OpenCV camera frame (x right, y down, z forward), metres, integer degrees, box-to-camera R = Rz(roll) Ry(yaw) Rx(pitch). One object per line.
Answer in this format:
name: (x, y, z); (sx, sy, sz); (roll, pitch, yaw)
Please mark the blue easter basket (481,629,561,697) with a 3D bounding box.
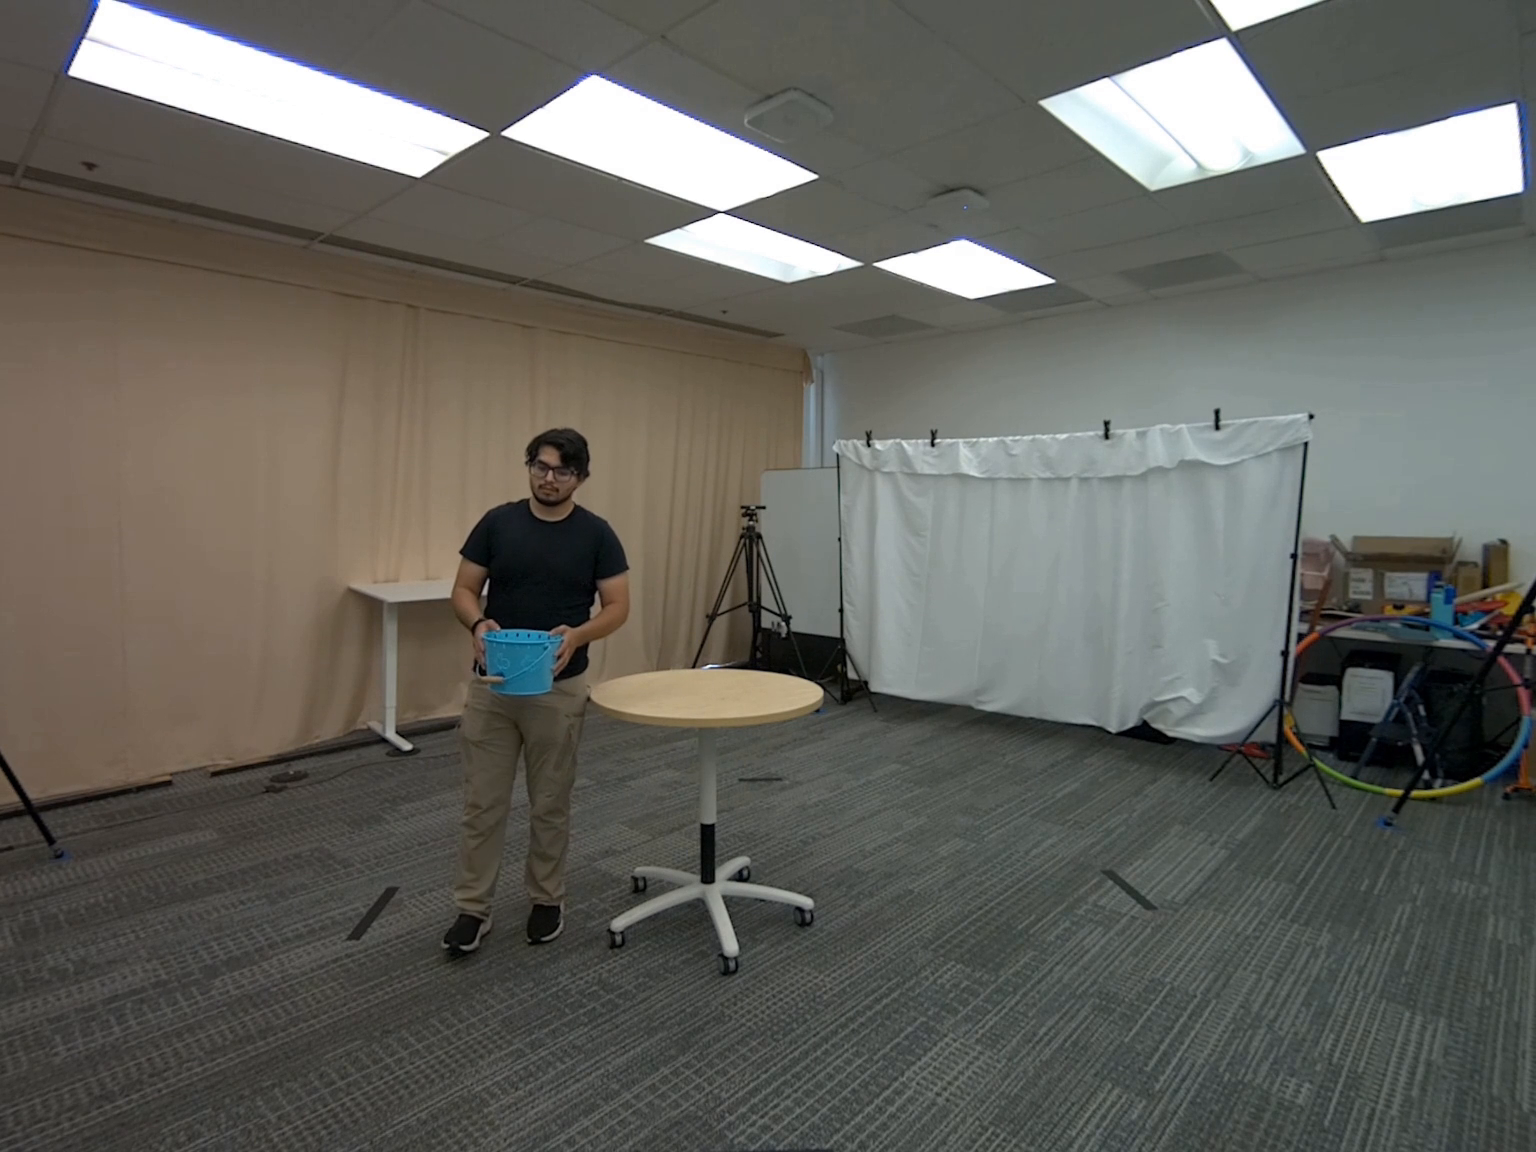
blue easter basket: (-0.726, 0.250, 2.432); (0.243, 0.156, 0.244); (1, 1, -2)
